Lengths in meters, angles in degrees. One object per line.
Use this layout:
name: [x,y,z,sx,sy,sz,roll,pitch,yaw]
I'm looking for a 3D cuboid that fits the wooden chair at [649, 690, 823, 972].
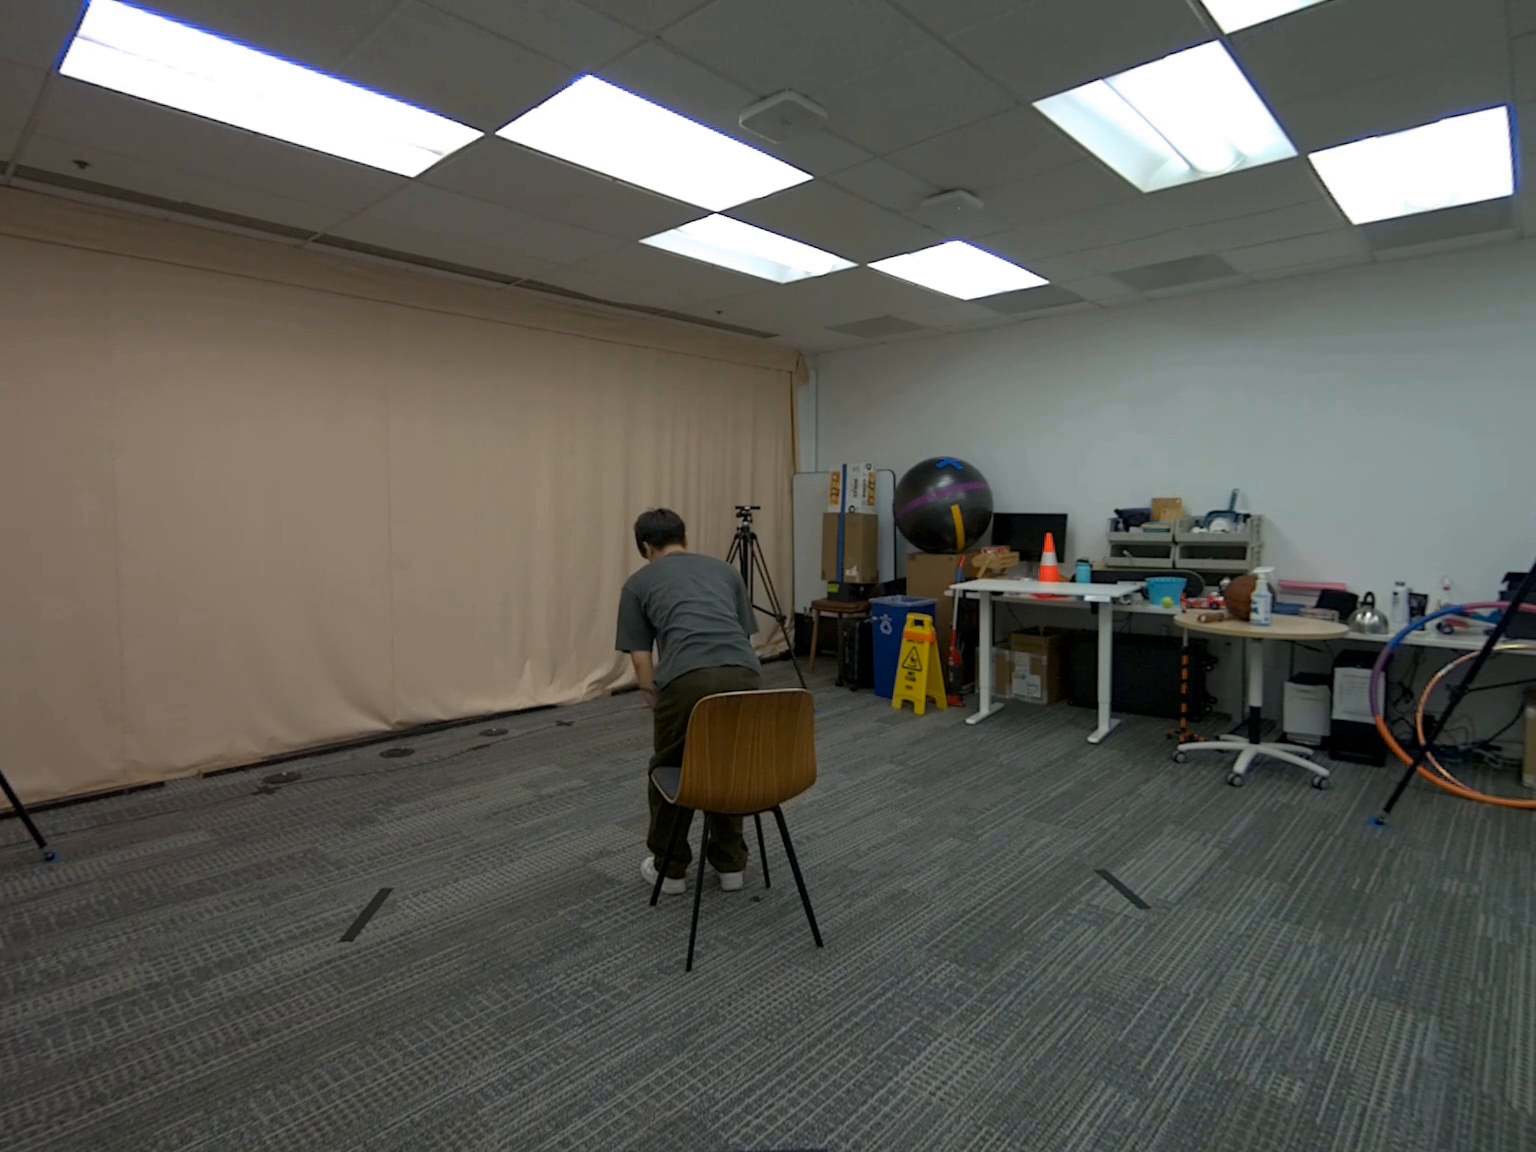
wooden chair: [-0.116,0.734,2.774,0.469,0.873,0.536,-2,7,-20]
